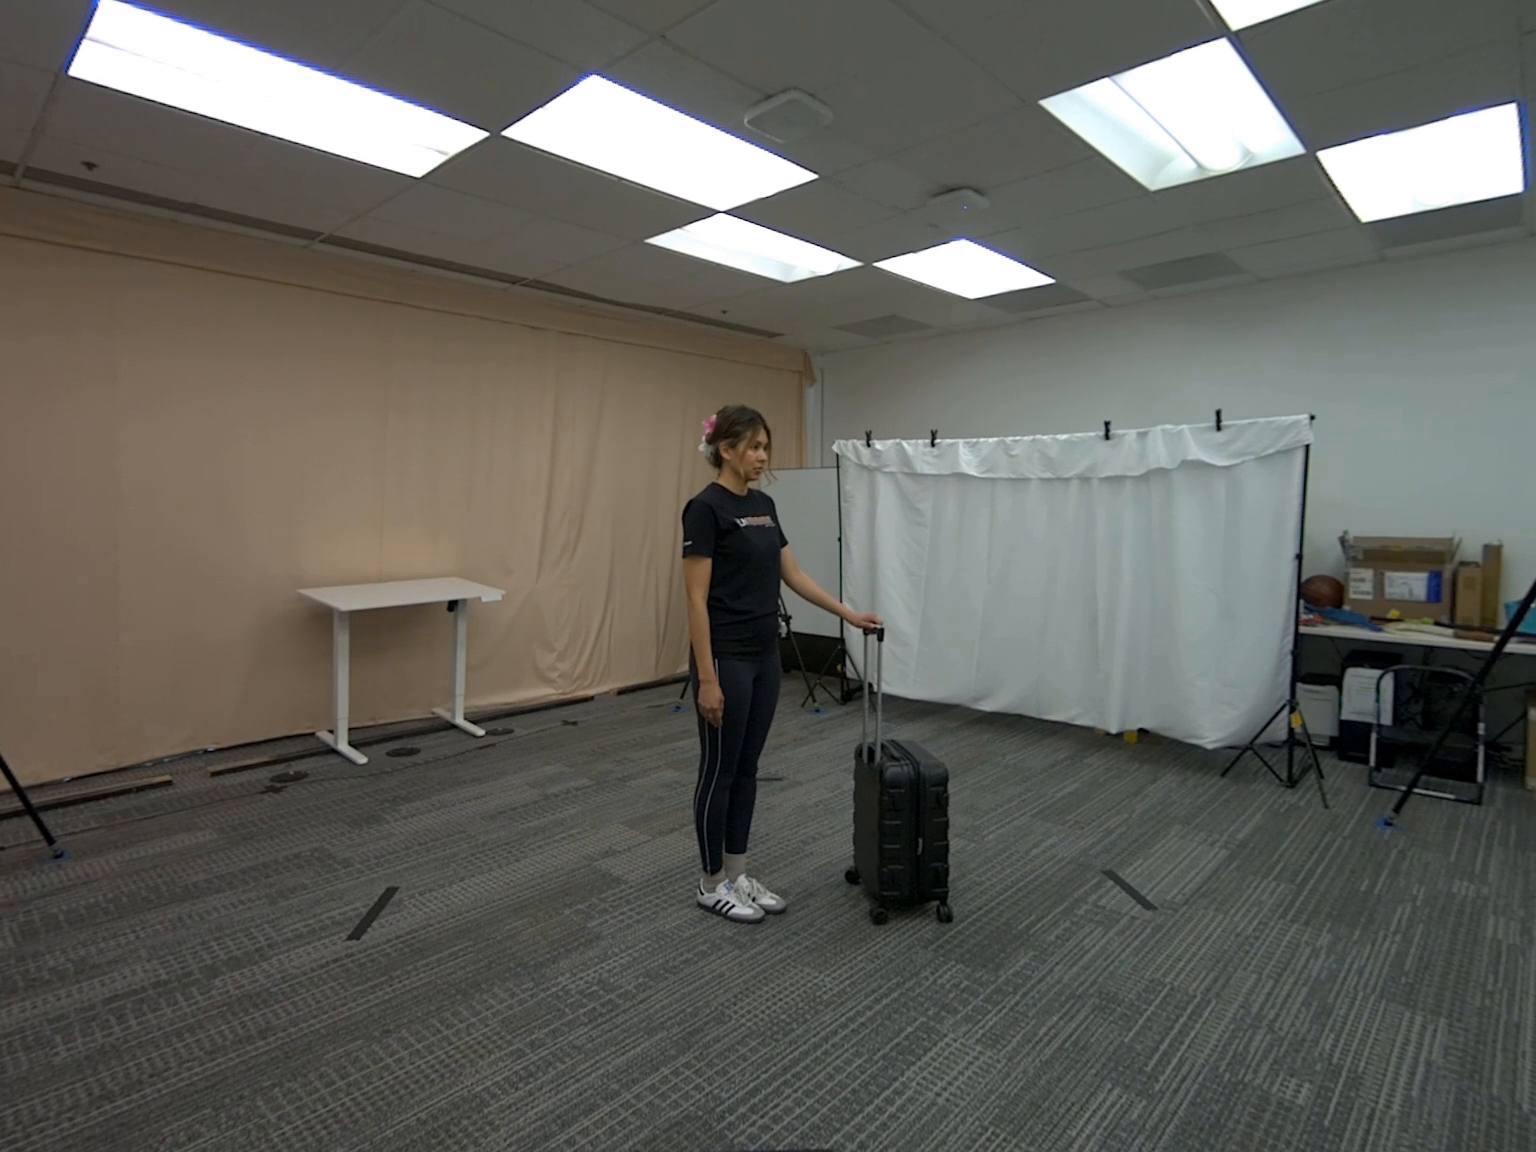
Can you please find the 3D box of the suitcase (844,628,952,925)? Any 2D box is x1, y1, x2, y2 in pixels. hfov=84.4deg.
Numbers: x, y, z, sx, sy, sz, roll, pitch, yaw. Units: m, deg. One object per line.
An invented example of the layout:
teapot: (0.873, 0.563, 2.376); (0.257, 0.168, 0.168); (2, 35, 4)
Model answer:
suitcase: (0.472, 0.669, 2.945); (0.255, 0.977, 0.387); (3, 3, -8)
